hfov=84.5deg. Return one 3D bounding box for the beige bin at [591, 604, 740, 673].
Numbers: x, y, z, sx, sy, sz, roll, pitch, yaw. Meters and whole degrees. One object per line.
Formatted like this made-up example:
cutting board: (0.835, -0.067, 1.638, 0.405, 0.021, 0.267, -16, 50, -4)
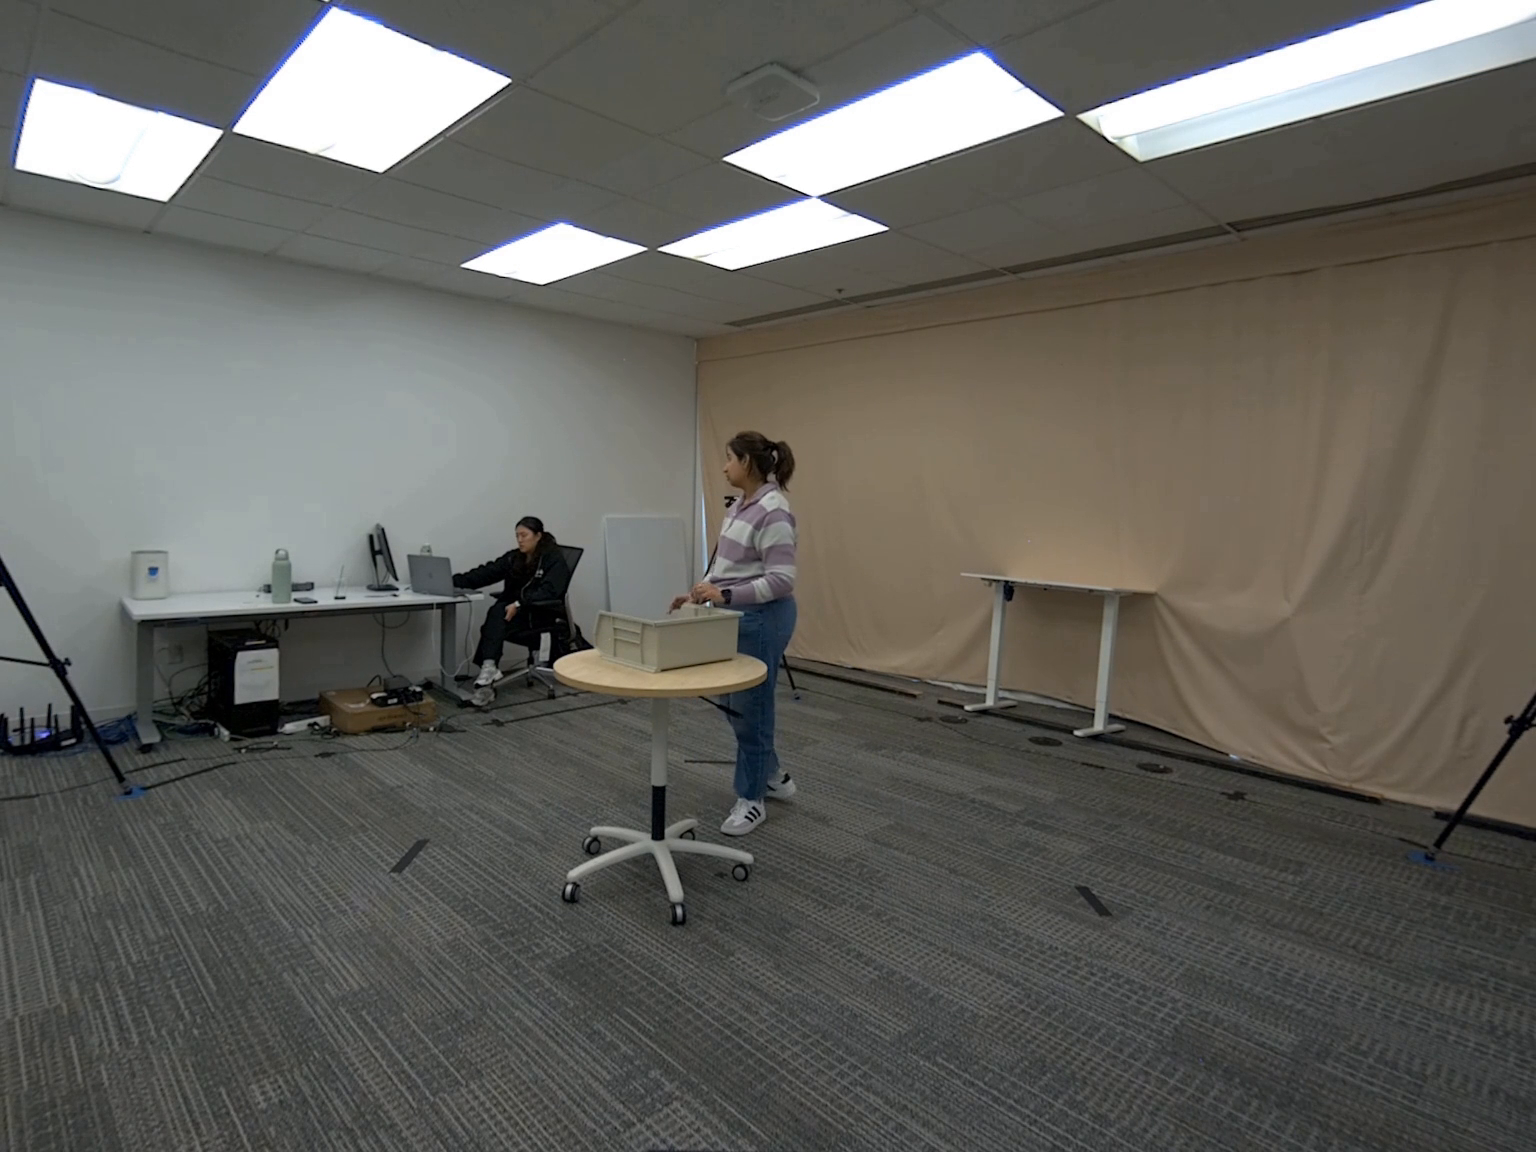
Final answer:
beige bin: (-0.378, 0.220, 3.148, 0.387, 0.188, 0.413, 9, 9, 44)
